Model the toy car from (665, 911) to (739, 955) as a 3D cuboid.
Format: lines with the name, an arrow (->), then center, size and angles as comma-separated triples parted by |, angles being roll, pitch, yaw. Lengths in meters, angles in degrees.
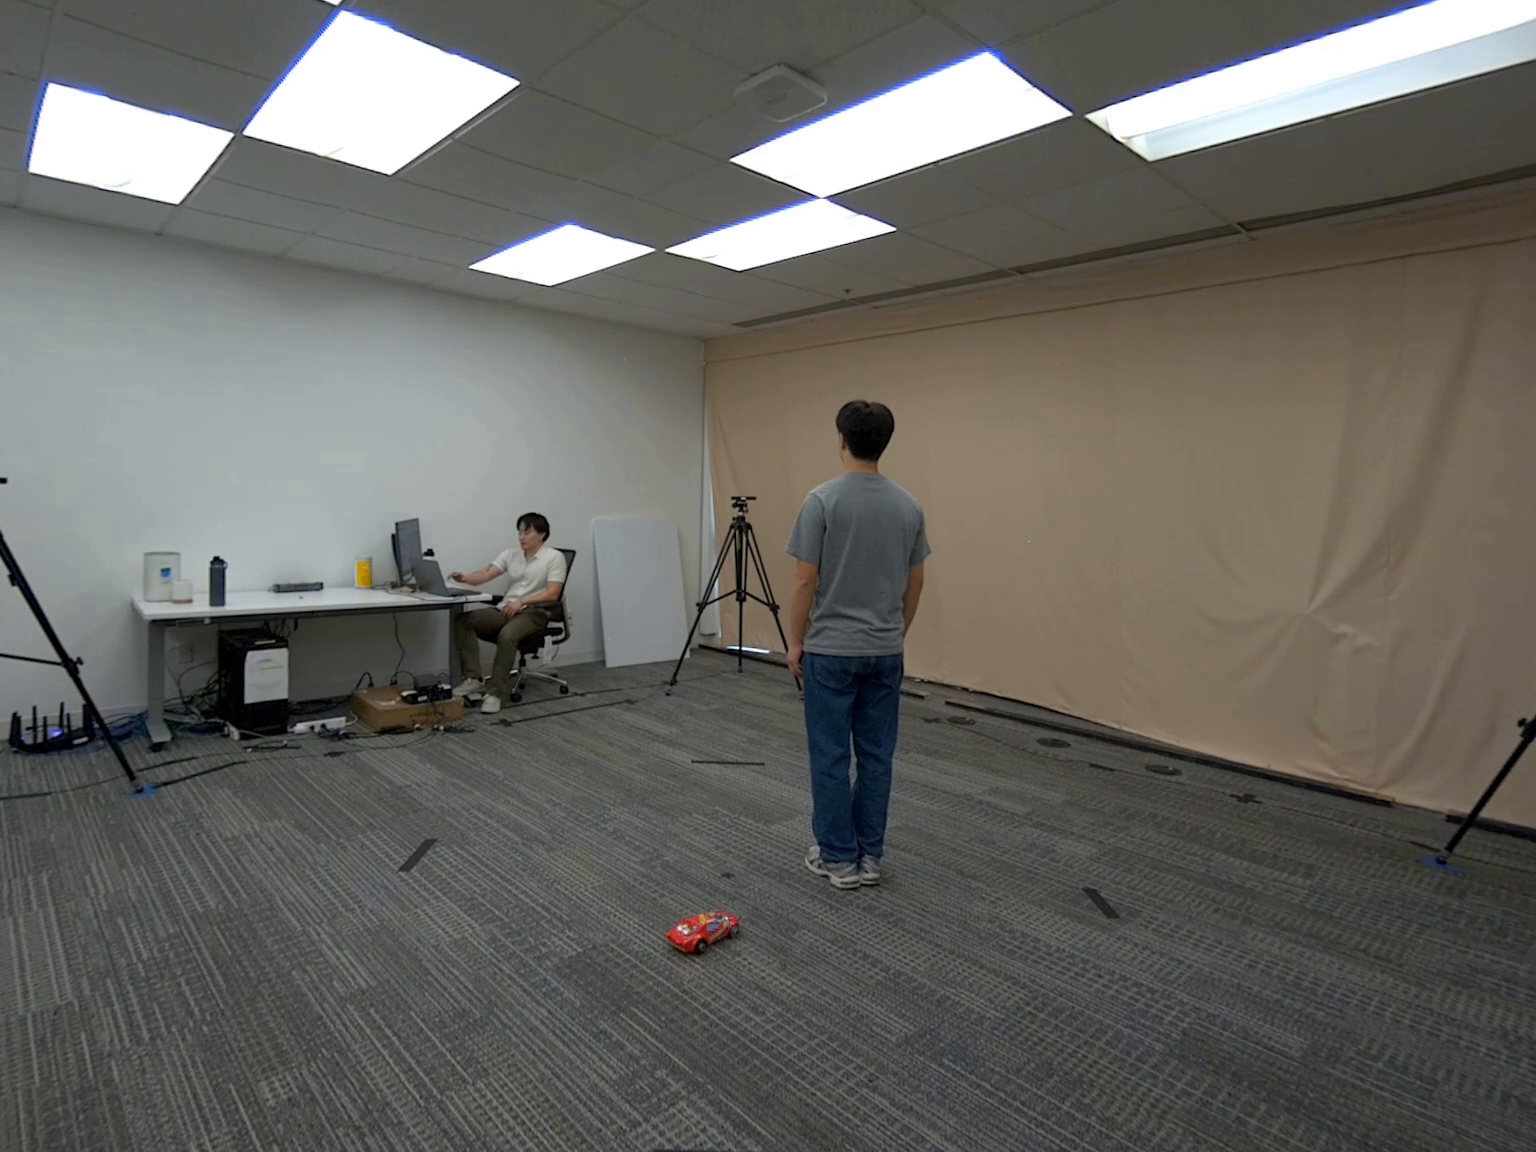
toy car -> -0.217, 1.115, 2.629 | 0.133, 0.083, 0.247 | 5, -5, 45
